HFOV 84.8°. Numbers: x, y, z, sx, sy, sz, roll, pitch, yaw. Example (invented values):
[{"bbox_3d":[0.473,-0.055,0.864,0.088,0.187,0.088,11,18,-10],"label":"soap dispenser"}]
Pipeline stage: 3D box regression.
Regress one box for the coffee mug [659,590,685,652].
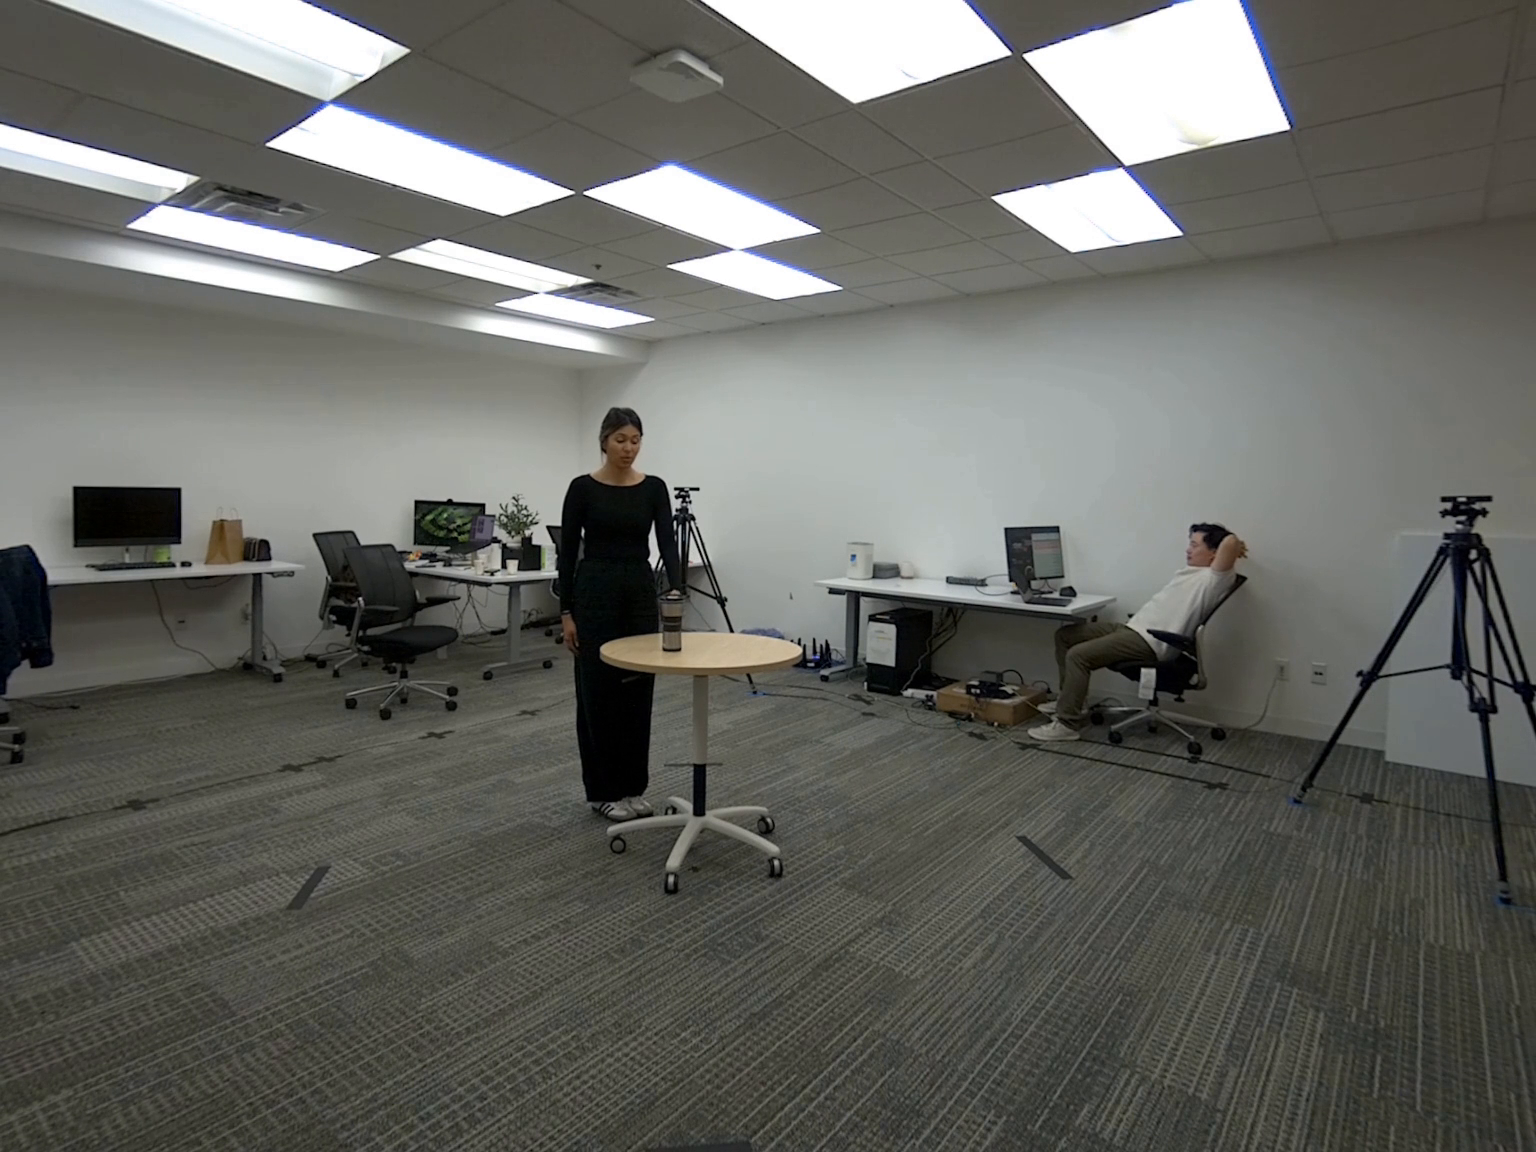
[{"bbox_3d":[-0.357,0.178,3.186,0.090,0.203,0.119,-5,2,22],"label":"coffee mug"}]
